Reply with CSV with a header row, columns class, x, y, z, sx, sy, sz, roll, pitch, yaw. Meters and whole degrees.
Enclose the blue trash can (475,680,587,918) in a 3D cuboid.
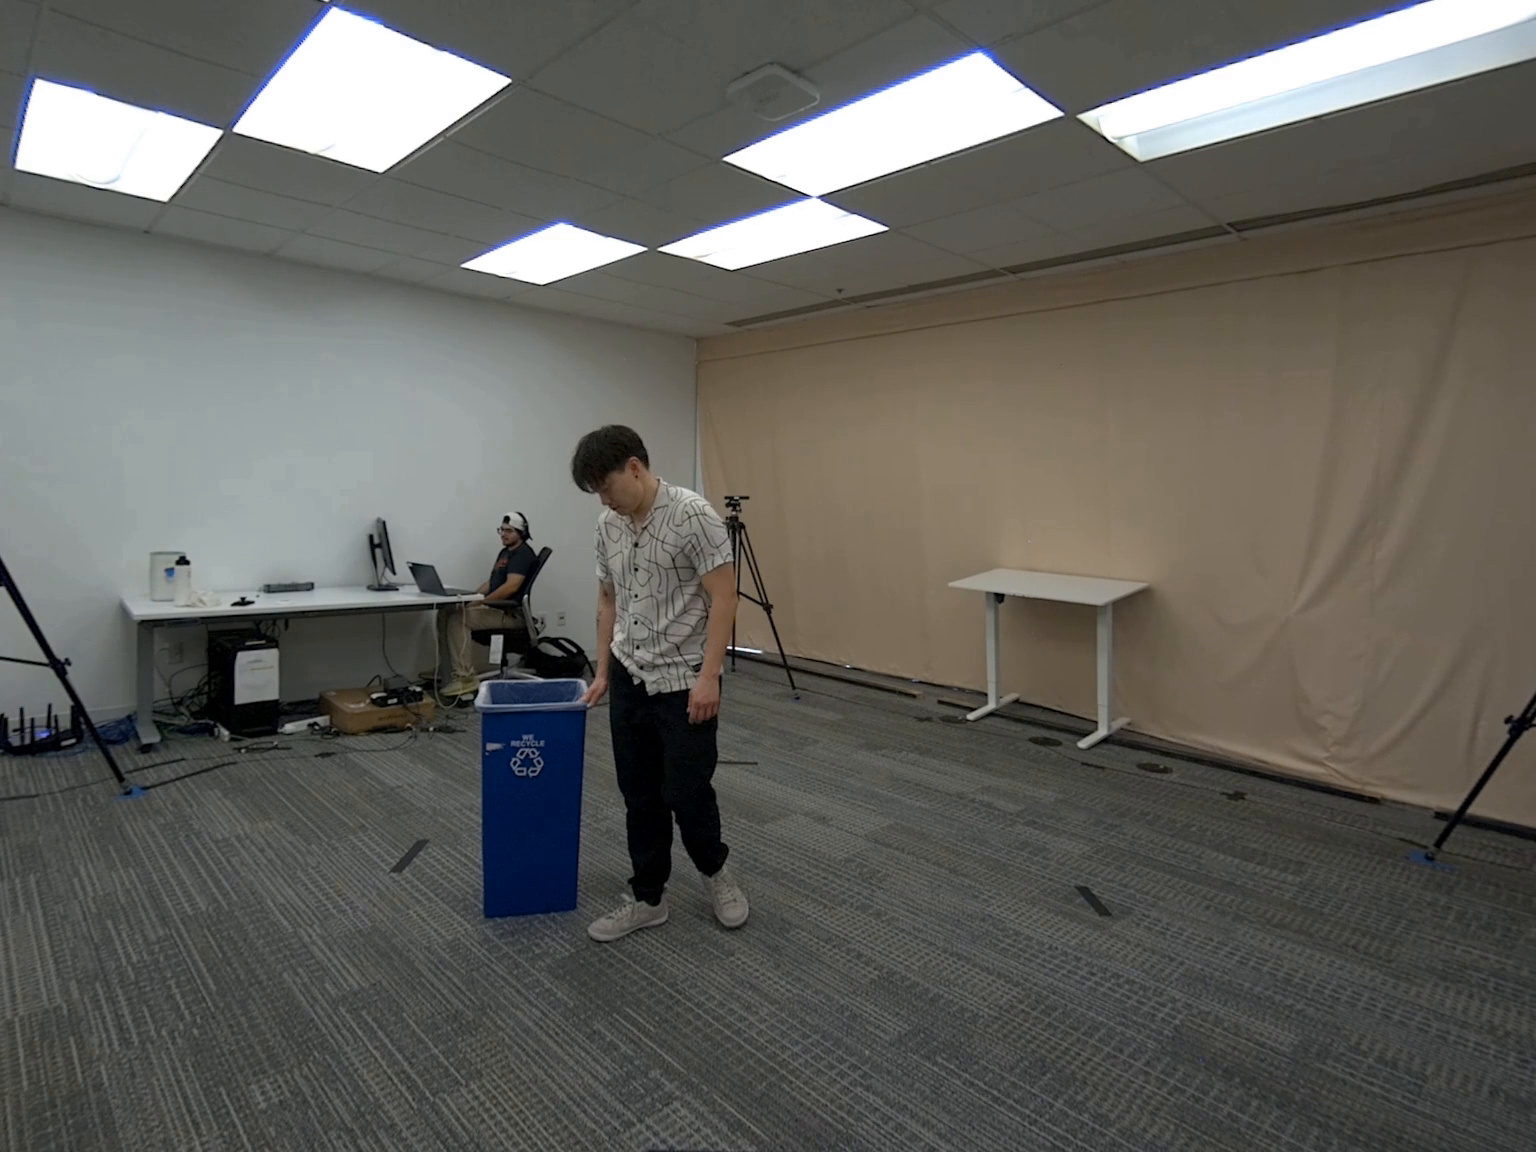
class,x,y,z,sx,sy,sz,roll,pitch,yaw
blue trash can,-0.814,0.752,2.909,0.369,0.711,0.384,1,4,-16
